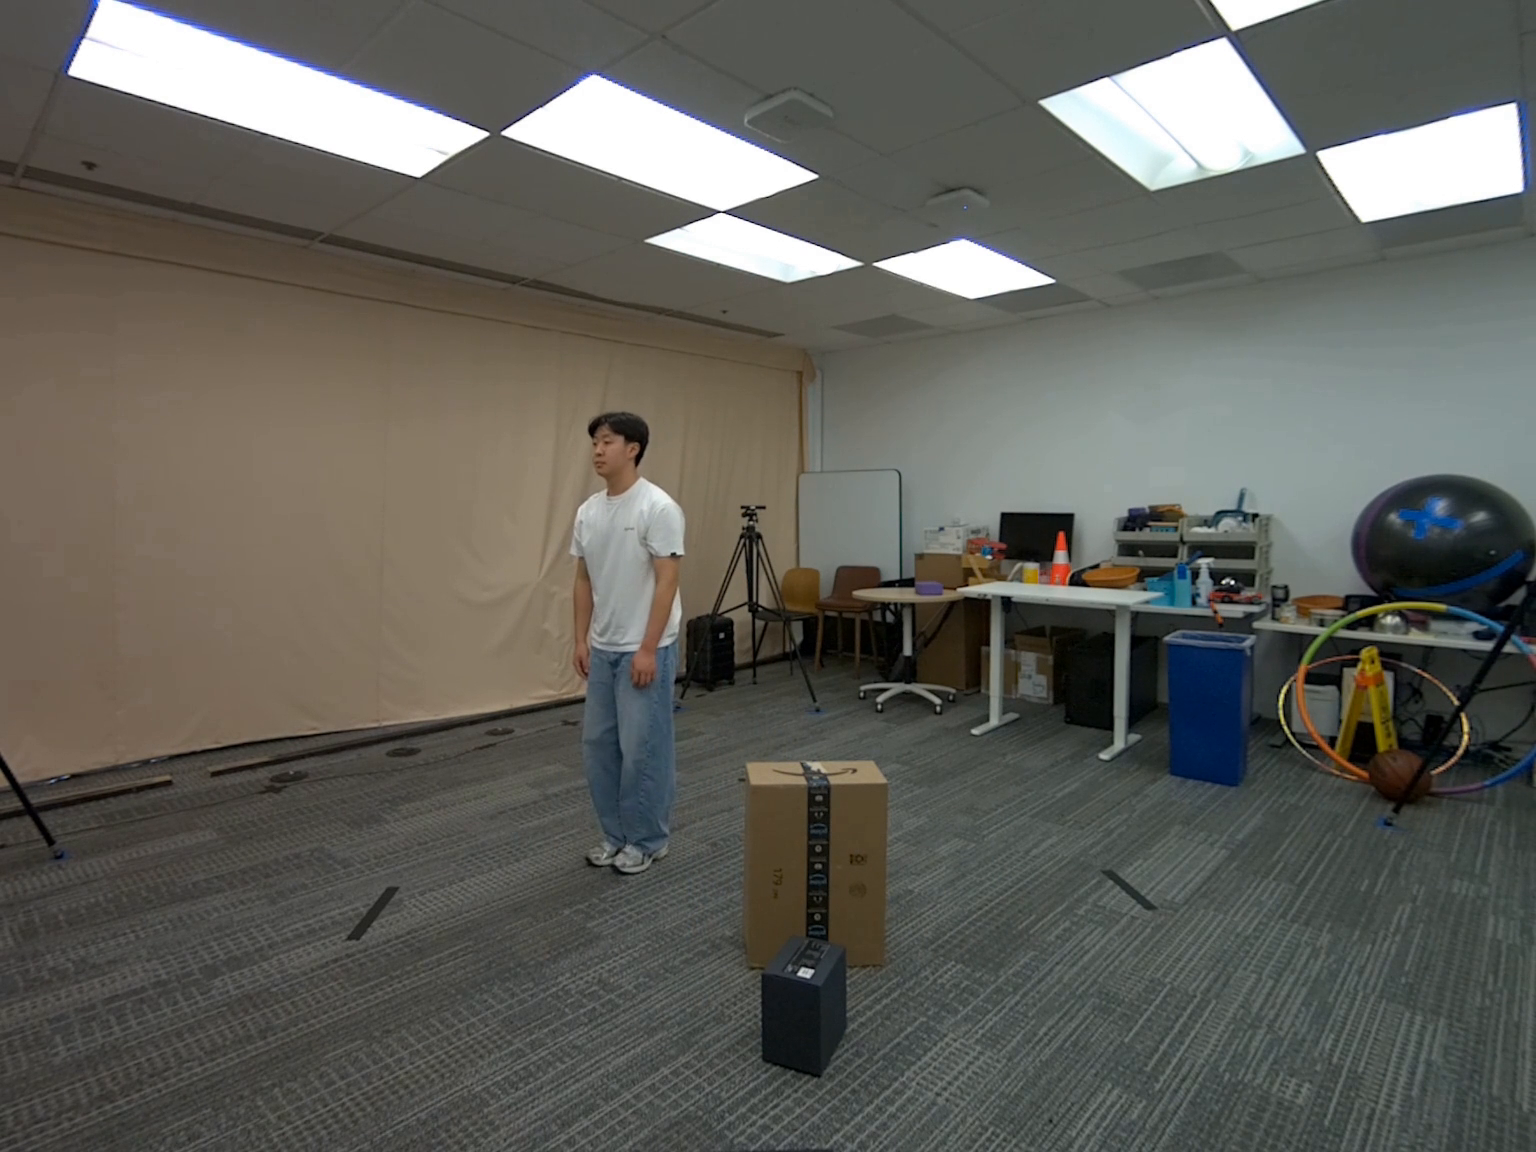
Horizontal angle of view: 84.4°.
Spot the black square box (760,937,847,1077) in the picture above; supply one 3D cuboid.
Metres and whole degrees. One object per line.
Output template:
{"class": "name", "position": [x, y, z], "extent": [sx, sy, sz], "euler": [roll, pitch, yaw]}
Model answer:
{"class": "black square box", "position": [0.097, 1.087, 2.169], "extent": [0.160, 0.227, 0.212], "euler": [0, 3, 23]}
